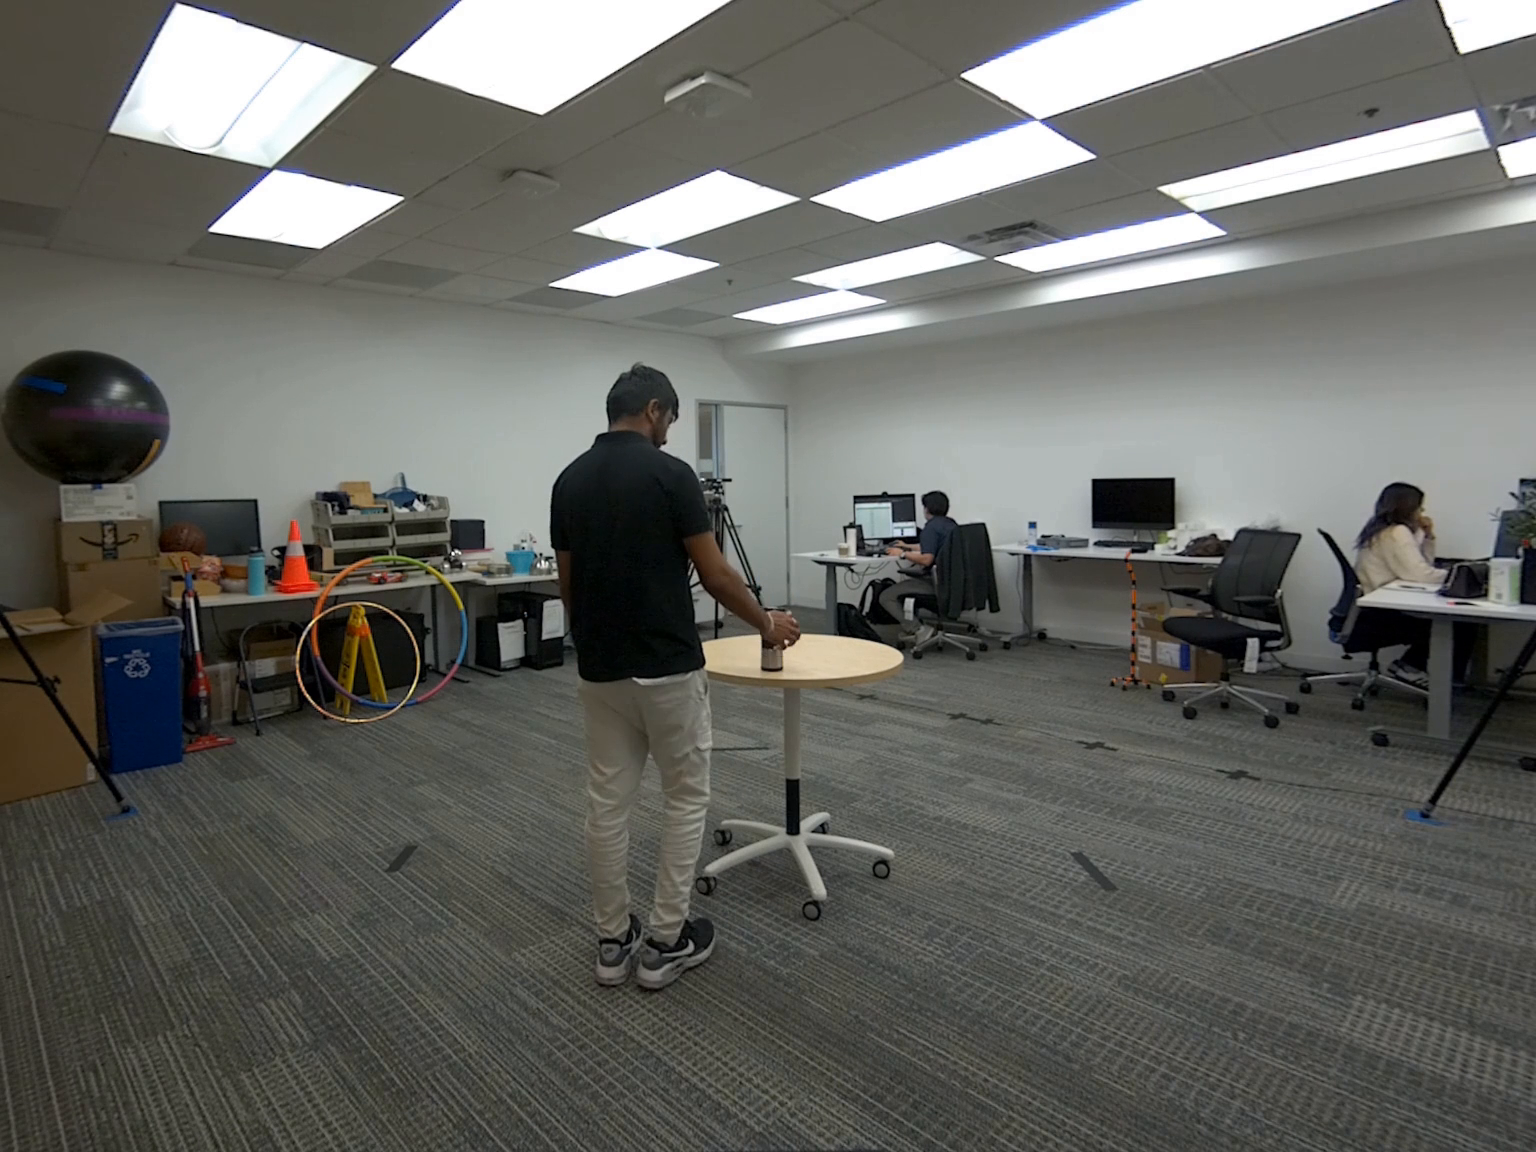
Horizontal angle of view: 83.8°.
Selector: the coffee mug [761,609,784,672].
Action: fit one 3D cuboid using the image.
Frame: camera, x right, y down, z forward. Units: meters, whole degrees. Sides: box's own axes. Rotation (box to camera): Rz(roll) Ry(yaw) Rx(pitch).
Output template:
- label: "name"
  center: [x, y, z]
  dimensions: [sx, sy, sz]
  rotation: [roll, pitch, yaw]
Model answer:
- label: "coffee mug"
  center: [0.008, 0.207, 2.715]
  dimensions: [0.090, 0.202, 0.120]
  rotation: [5, 6, 21]
